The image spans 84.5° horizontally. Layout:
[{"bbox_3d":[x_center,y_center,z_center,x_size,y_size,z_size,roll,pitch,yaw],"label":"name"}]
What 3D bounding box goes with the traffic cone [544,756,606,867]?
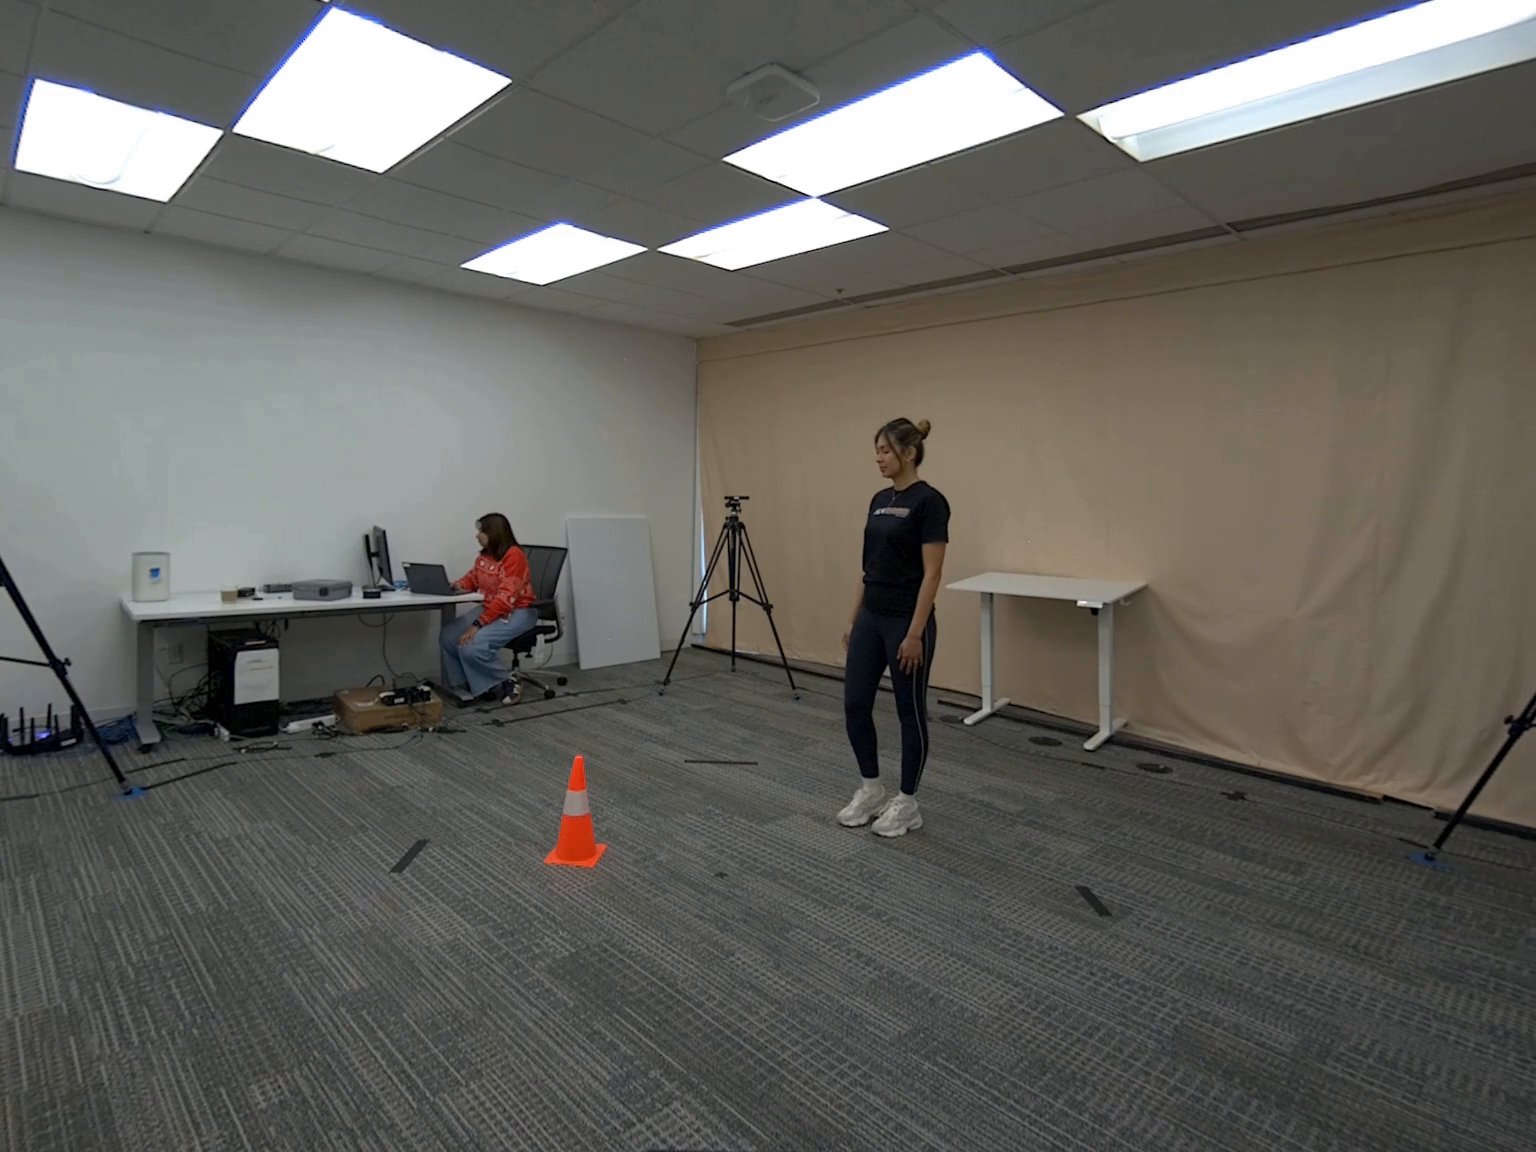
[{"bbox_3d":[-0.746,0.891,3.252,0.205,0.383,0.204,4,2,8],"label":"traffic cone"}]
